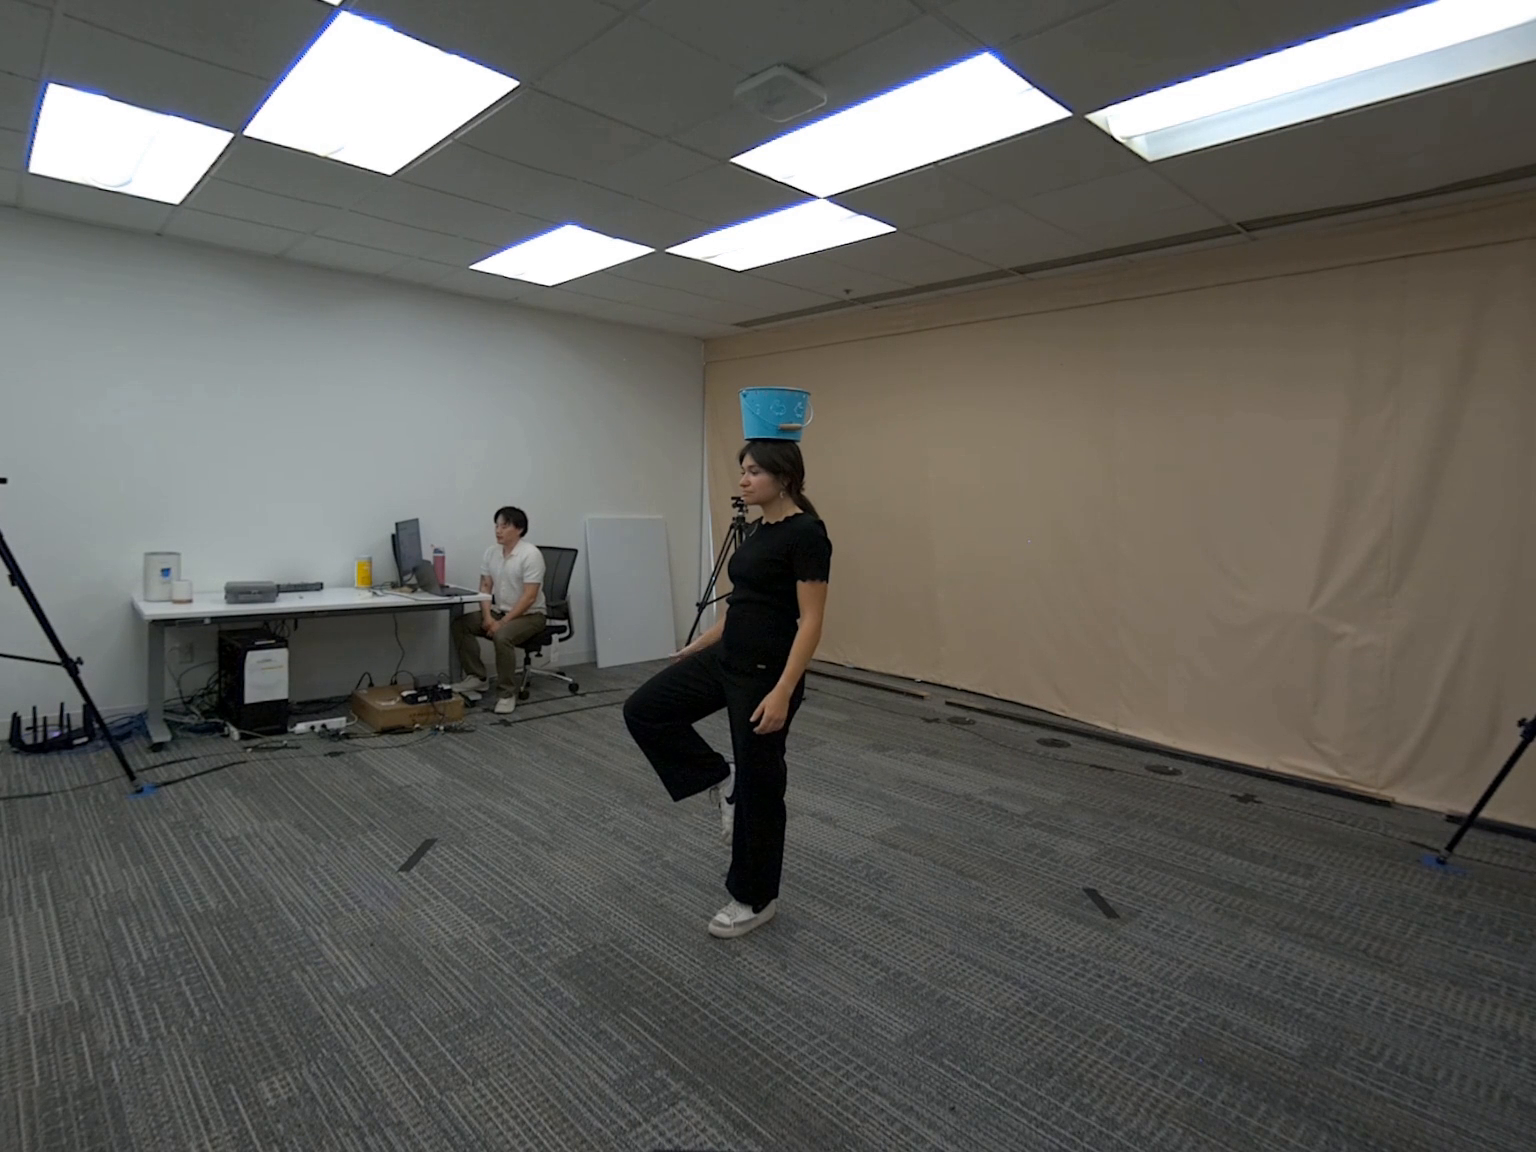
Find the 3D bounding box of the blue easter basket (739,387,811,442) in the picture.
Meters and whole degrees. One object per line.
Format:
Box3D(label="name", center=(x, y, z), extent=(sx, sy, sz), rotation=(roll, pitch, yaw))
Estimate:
Box3D(label="blue easter basket", center=(0.020, -0.507, 2.658), extent=(0.243, 0.155, 0.244), rotation=(2, 4, -1))
